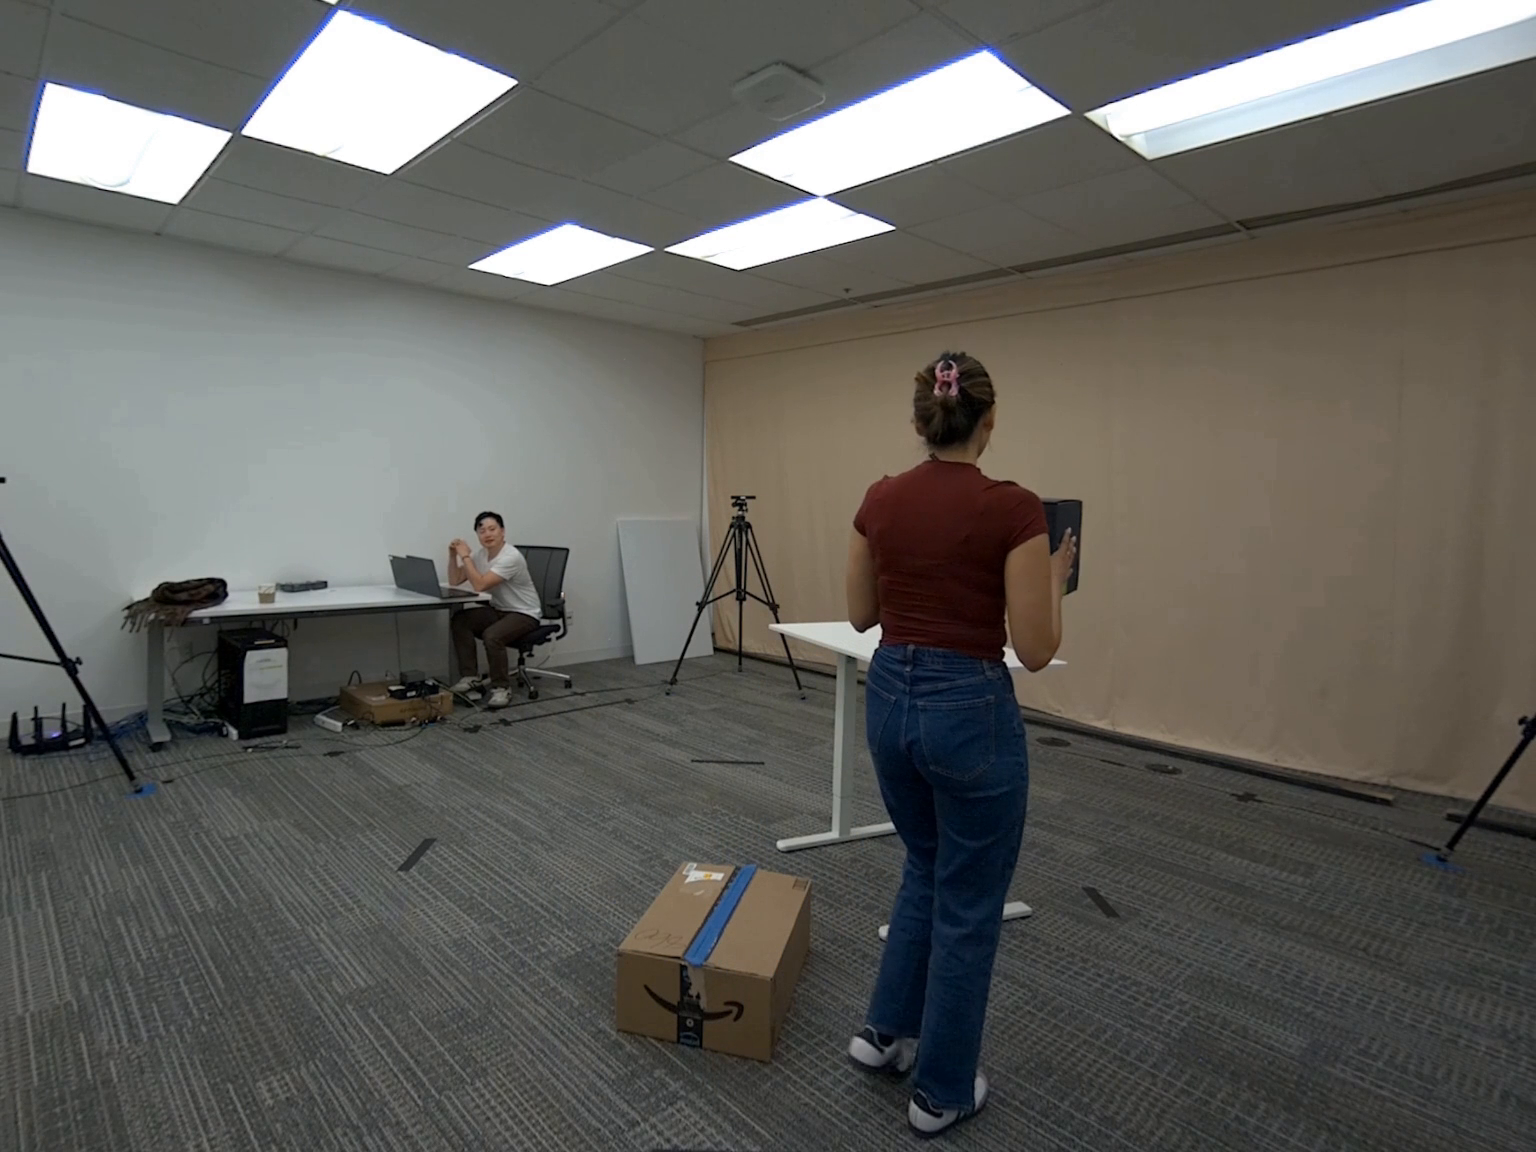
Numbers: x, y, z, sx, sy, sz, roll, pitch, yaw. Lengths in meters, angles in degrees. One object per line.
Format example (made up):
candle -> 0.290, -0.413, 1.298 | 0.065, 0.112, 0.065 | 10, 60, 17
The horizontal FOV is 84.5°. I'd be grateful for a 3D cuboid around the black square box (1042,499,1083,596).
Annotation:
black square box -> 0.616, -0.077, 2.048 | 0.223, 0.227, 0.152 | 8, 10, 42
